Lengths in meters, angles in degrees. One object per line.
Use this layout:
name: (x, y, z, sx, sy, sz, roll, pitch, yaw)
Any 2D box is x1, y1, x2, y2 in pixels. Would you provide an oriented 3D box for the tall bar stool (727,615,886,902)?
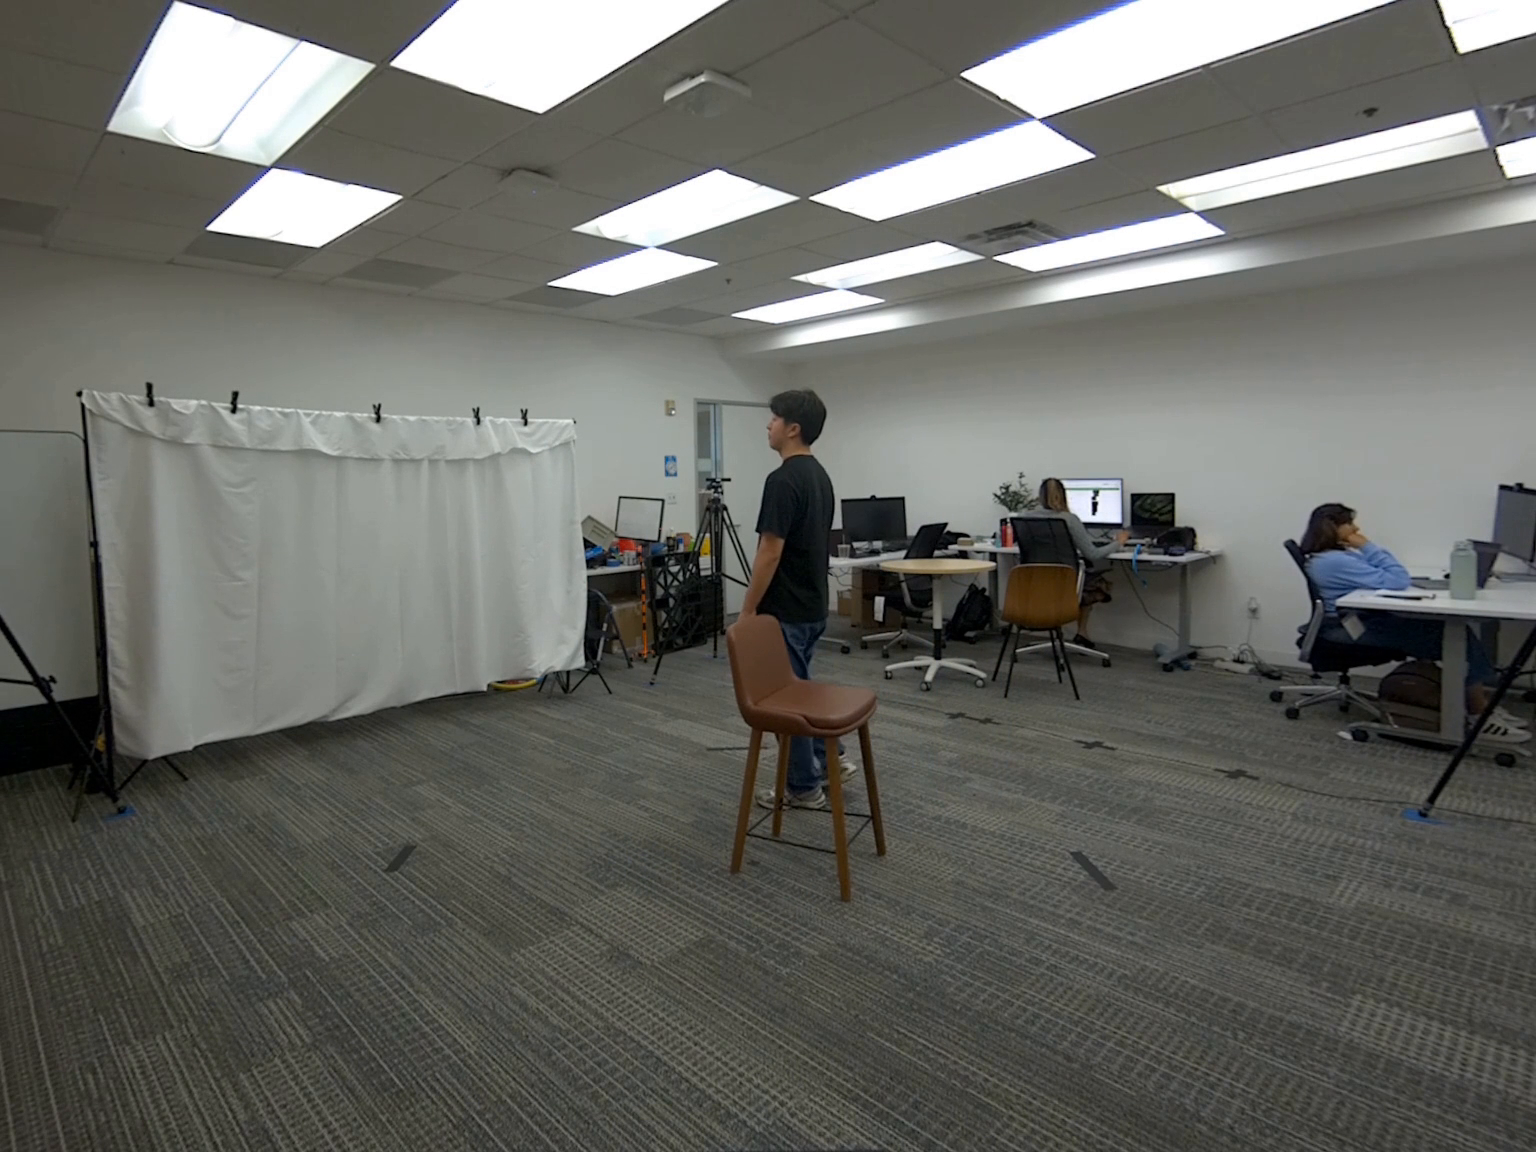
tall bar stool: (0.141, 0.611, 3.069, 0.479, 0.887, 0.447, -1, 3, 28)
